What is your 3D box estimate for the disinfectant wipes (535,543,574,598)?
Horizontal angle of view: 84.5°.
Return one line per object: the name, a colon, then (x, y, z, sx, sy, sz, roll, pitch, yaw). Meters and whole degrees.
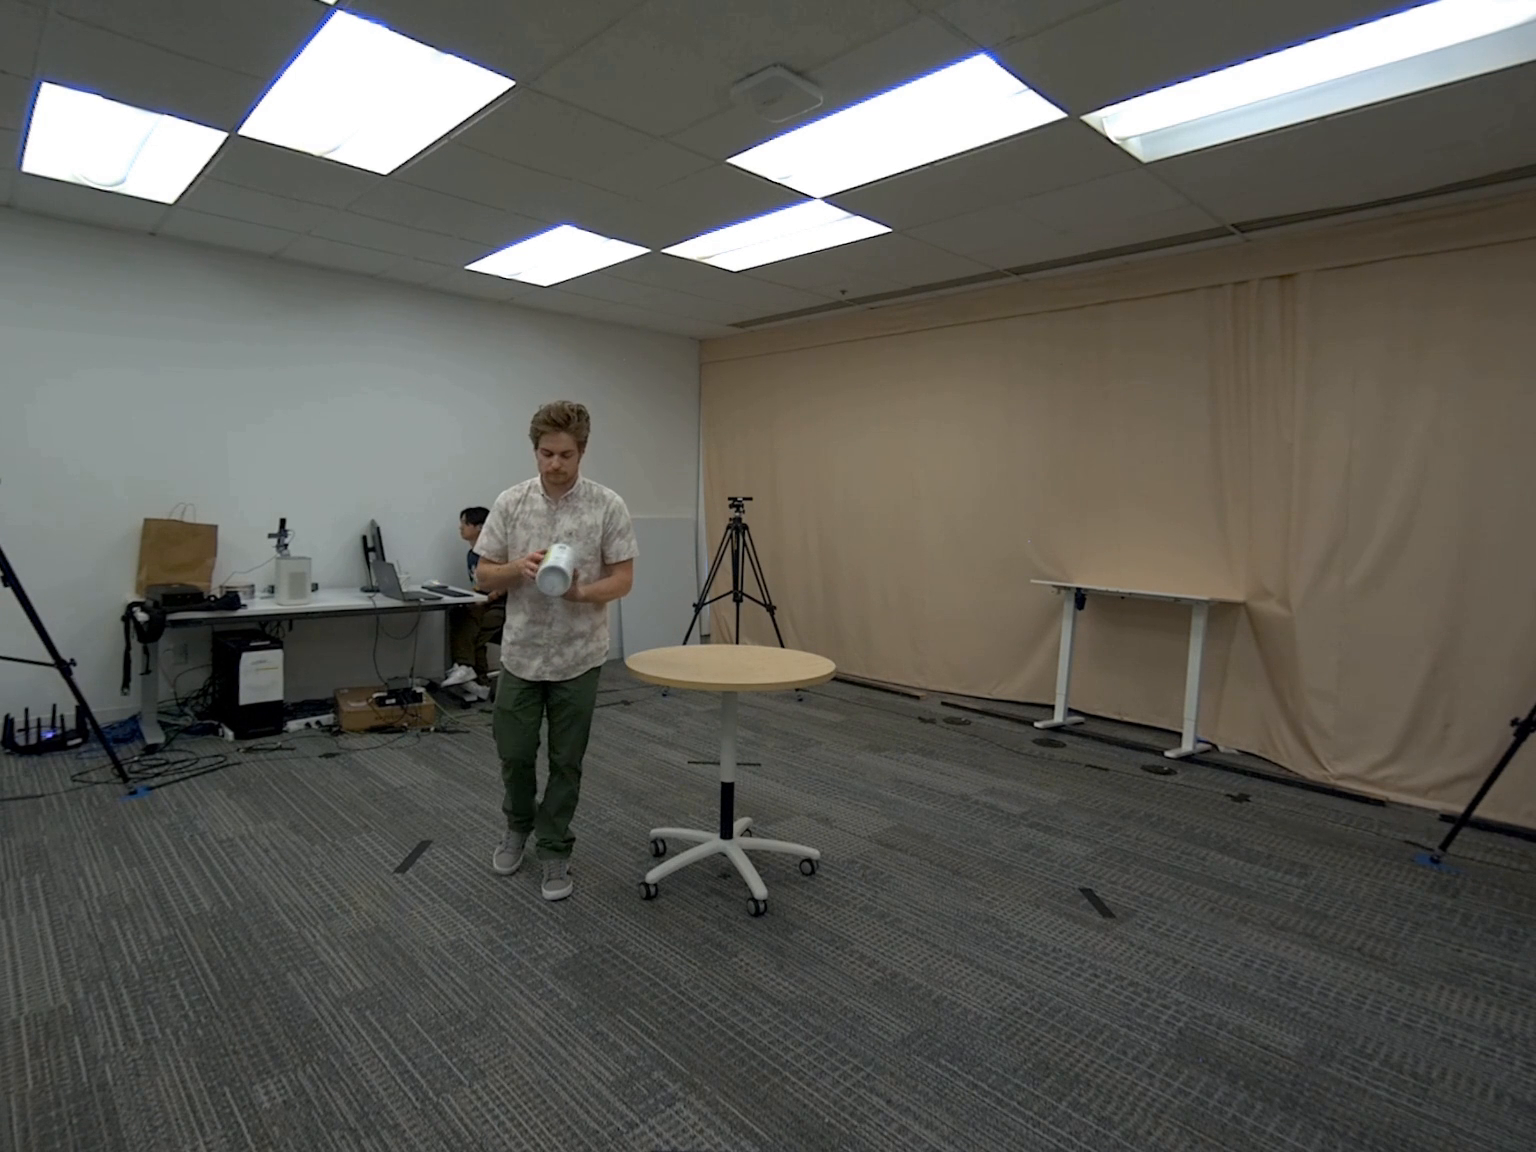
disinfectant wipes: (-0.674, -0.019, 2.671, 0.117, 0.116, 0.221, 1, 19, -7)
